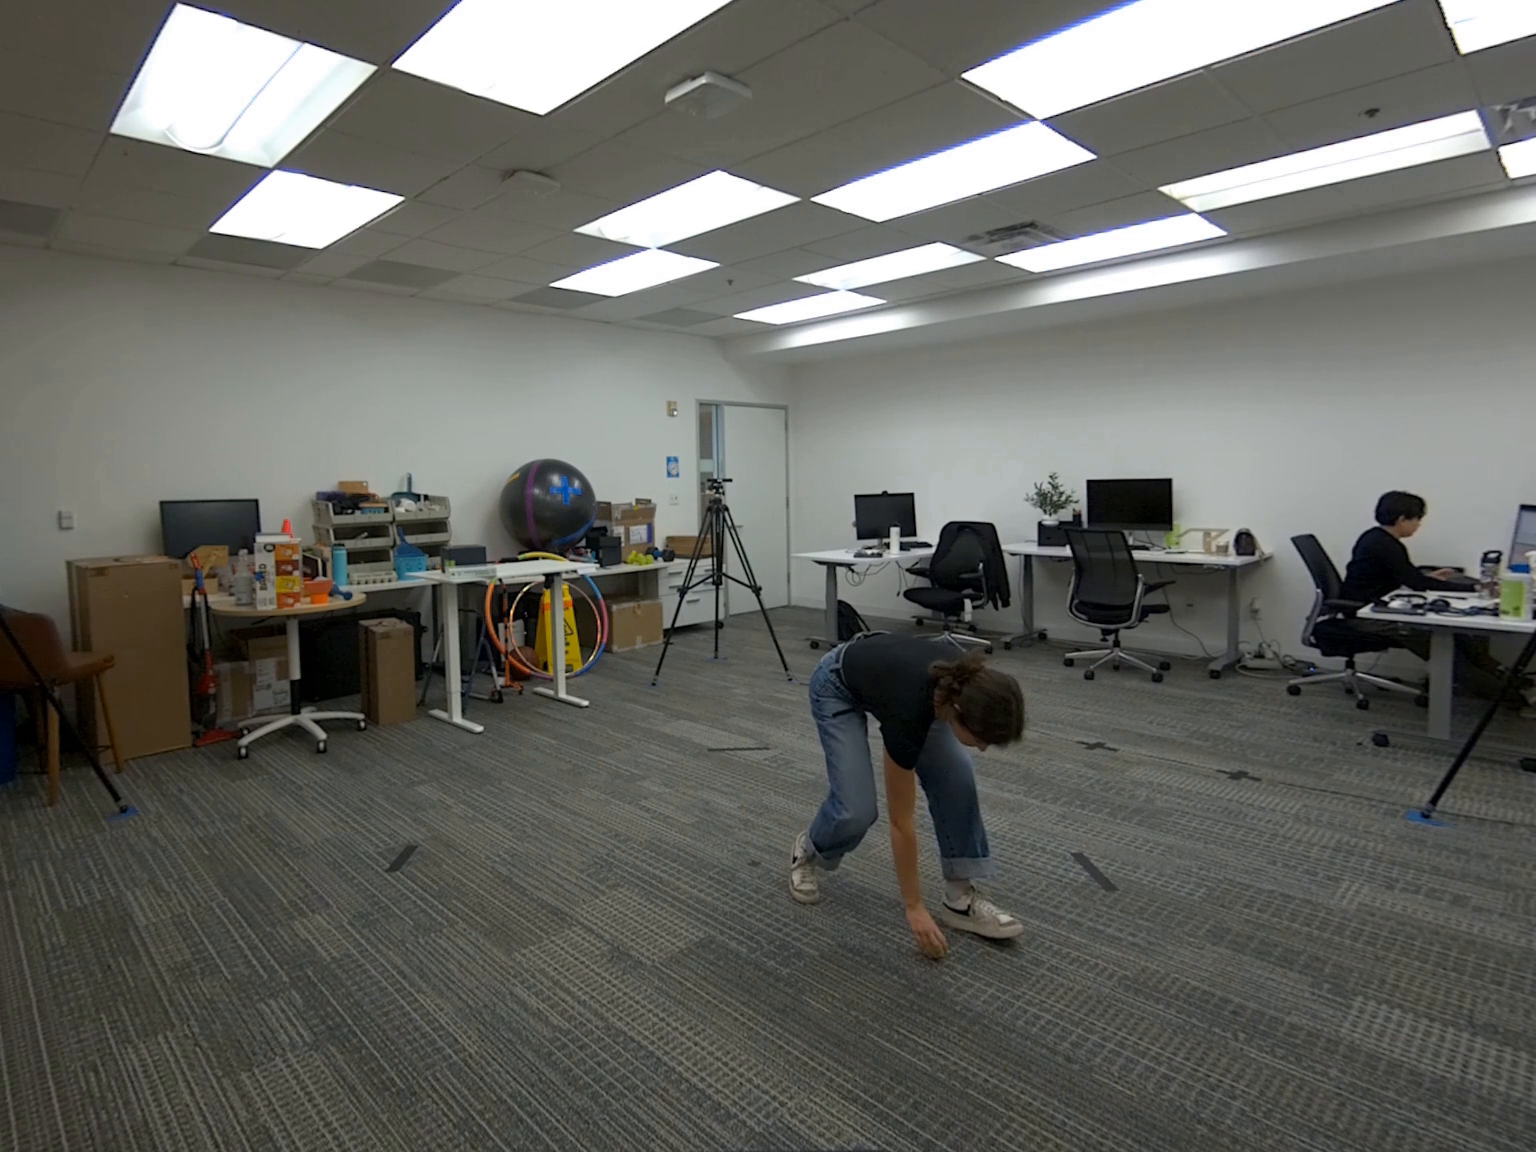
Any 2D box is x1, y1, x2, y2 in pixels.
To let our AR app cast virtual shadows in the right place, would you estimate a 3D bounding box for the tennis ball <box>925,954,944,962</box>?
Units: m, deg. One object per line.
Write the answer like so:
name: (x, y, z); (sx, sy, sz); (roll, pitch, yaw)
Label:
tennis ball: (0.486, 1.058, 2.474); (0.066, 0.066, 0.067); (-1, 5, -2)
